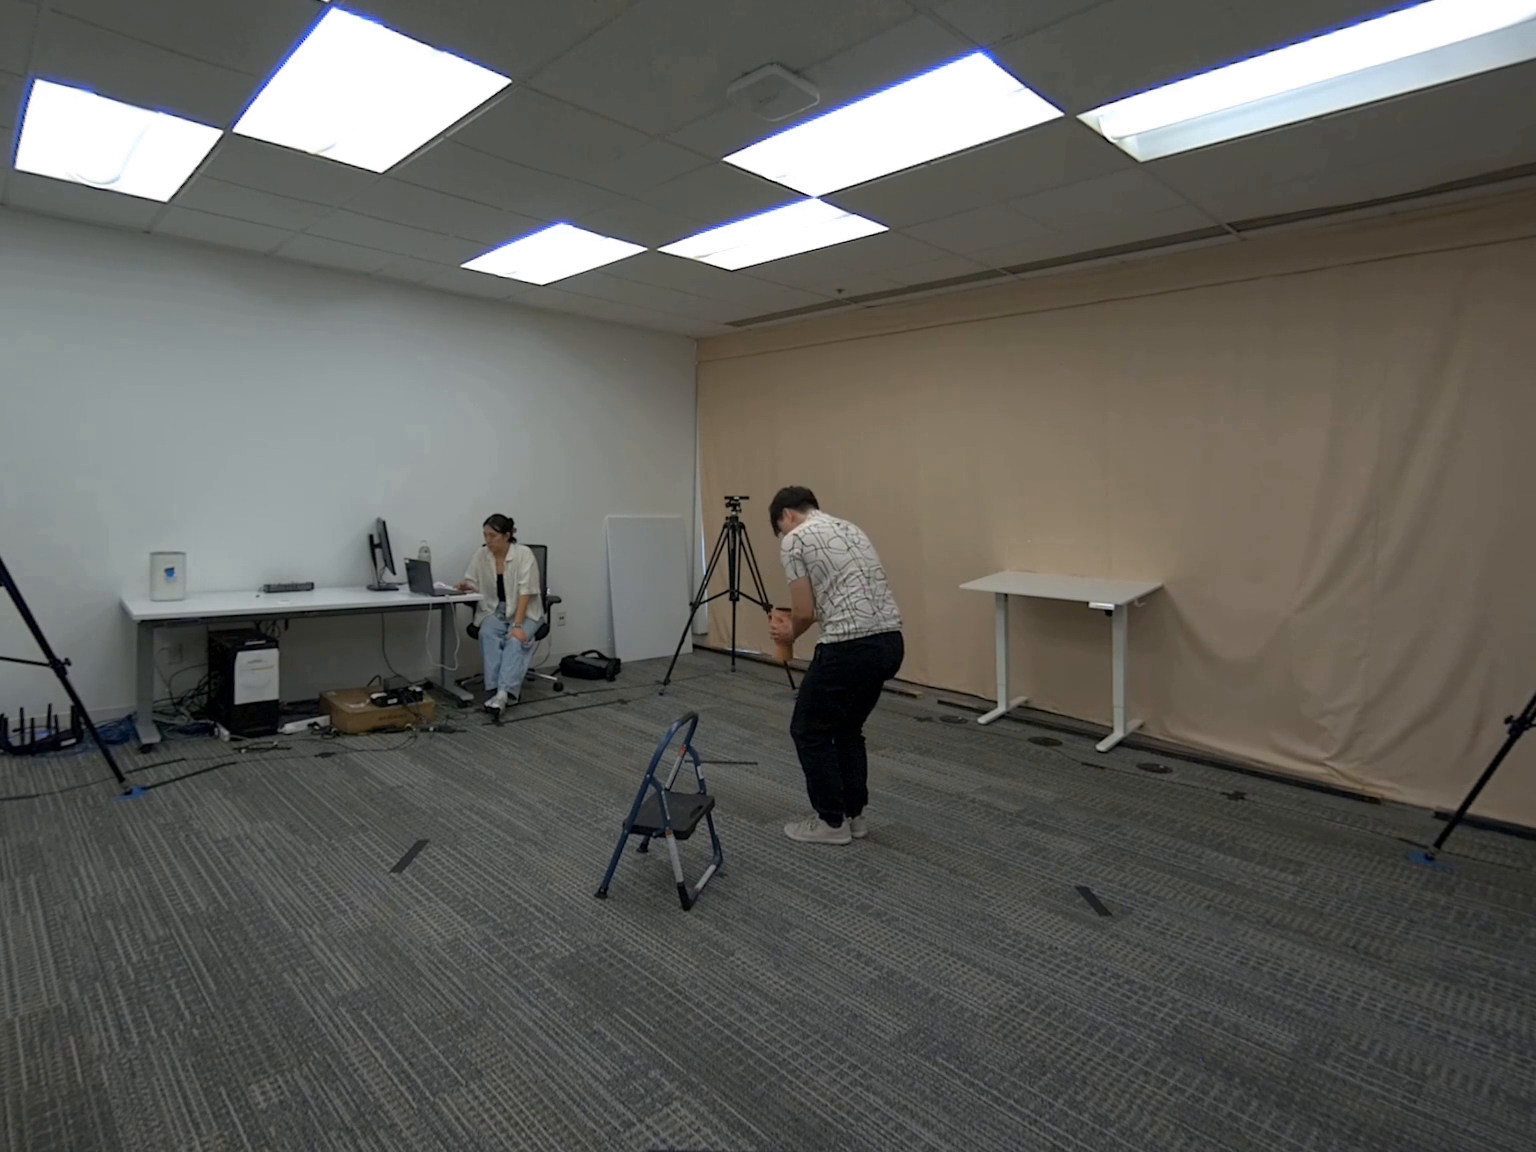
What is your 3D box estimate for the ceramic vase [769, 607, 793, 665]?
[{"bbox_3d":[0.075,0.263,3.761,0.132,0.219,0.162,5,6,-19],"label":"ceramic vase"}]
